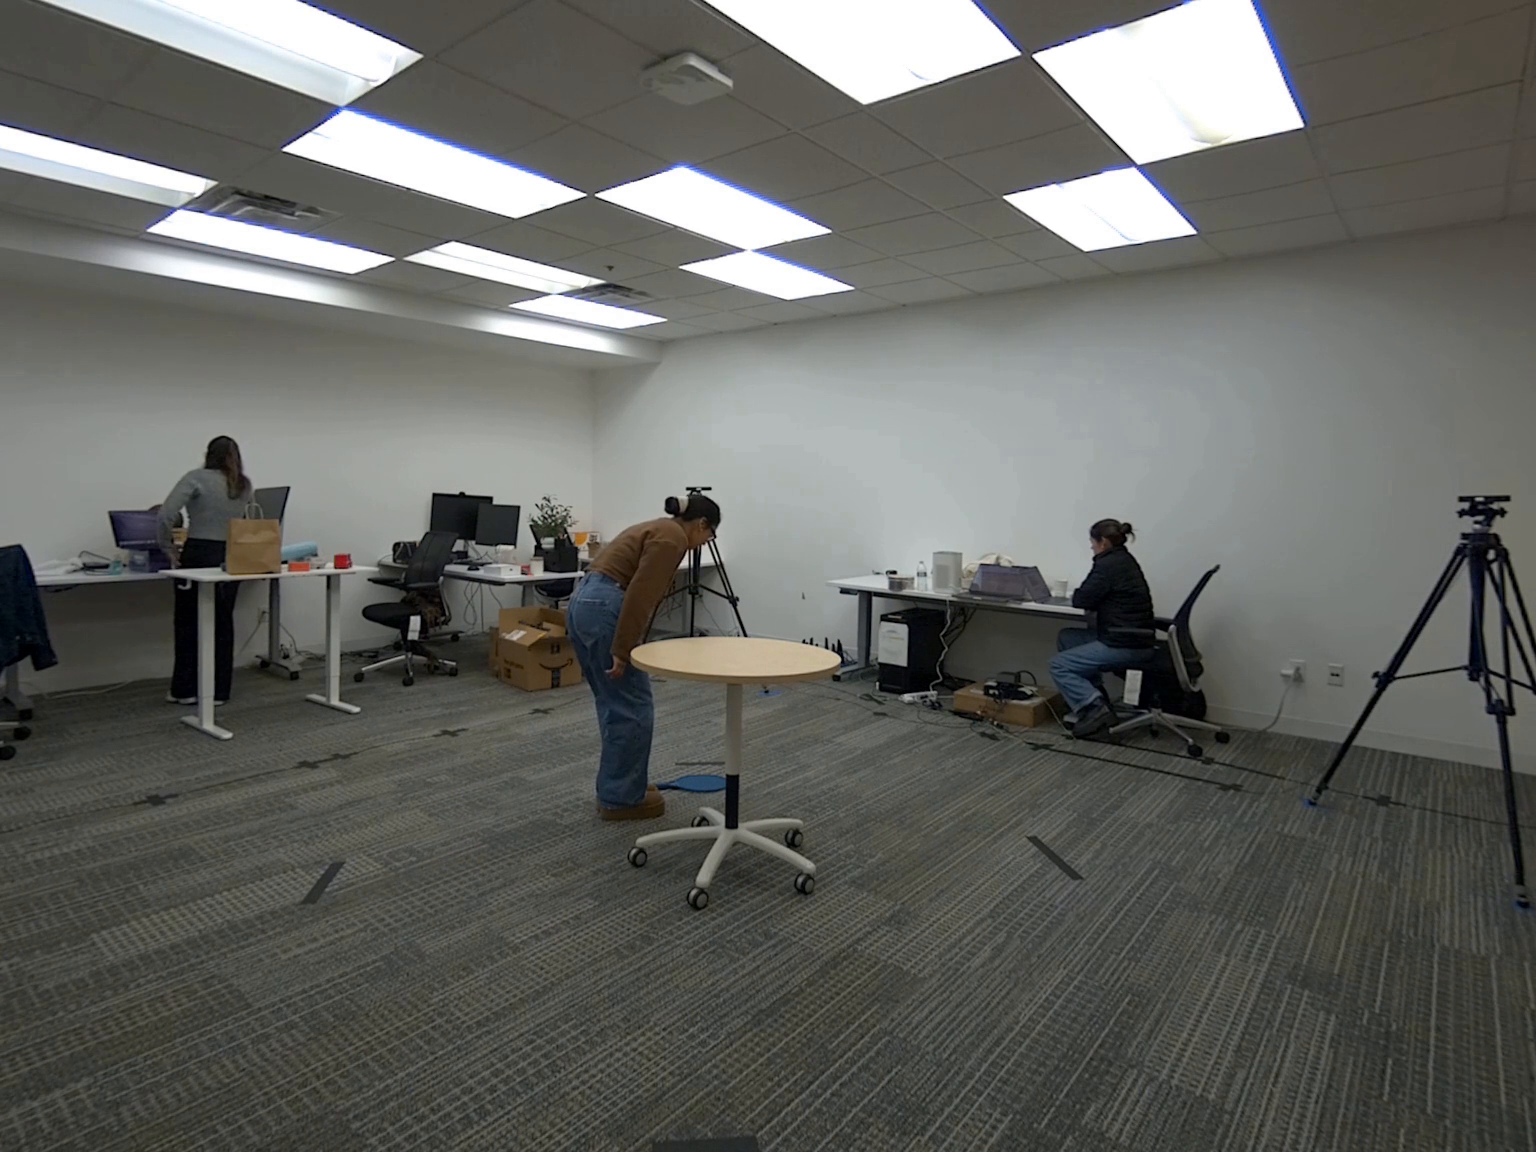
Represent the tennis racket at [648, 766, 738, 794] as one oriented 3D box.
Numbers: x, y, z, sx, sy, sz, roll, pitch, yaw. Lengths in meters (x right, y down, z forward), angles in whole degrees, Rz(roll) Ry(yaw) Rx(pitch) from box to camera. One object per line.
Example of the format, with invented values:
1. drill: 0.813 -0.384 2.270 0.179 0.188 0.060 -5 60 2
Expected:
1. tennis racket: -0.389 0.959 3.957 0.423 0.031 0.219 0 5 -22
